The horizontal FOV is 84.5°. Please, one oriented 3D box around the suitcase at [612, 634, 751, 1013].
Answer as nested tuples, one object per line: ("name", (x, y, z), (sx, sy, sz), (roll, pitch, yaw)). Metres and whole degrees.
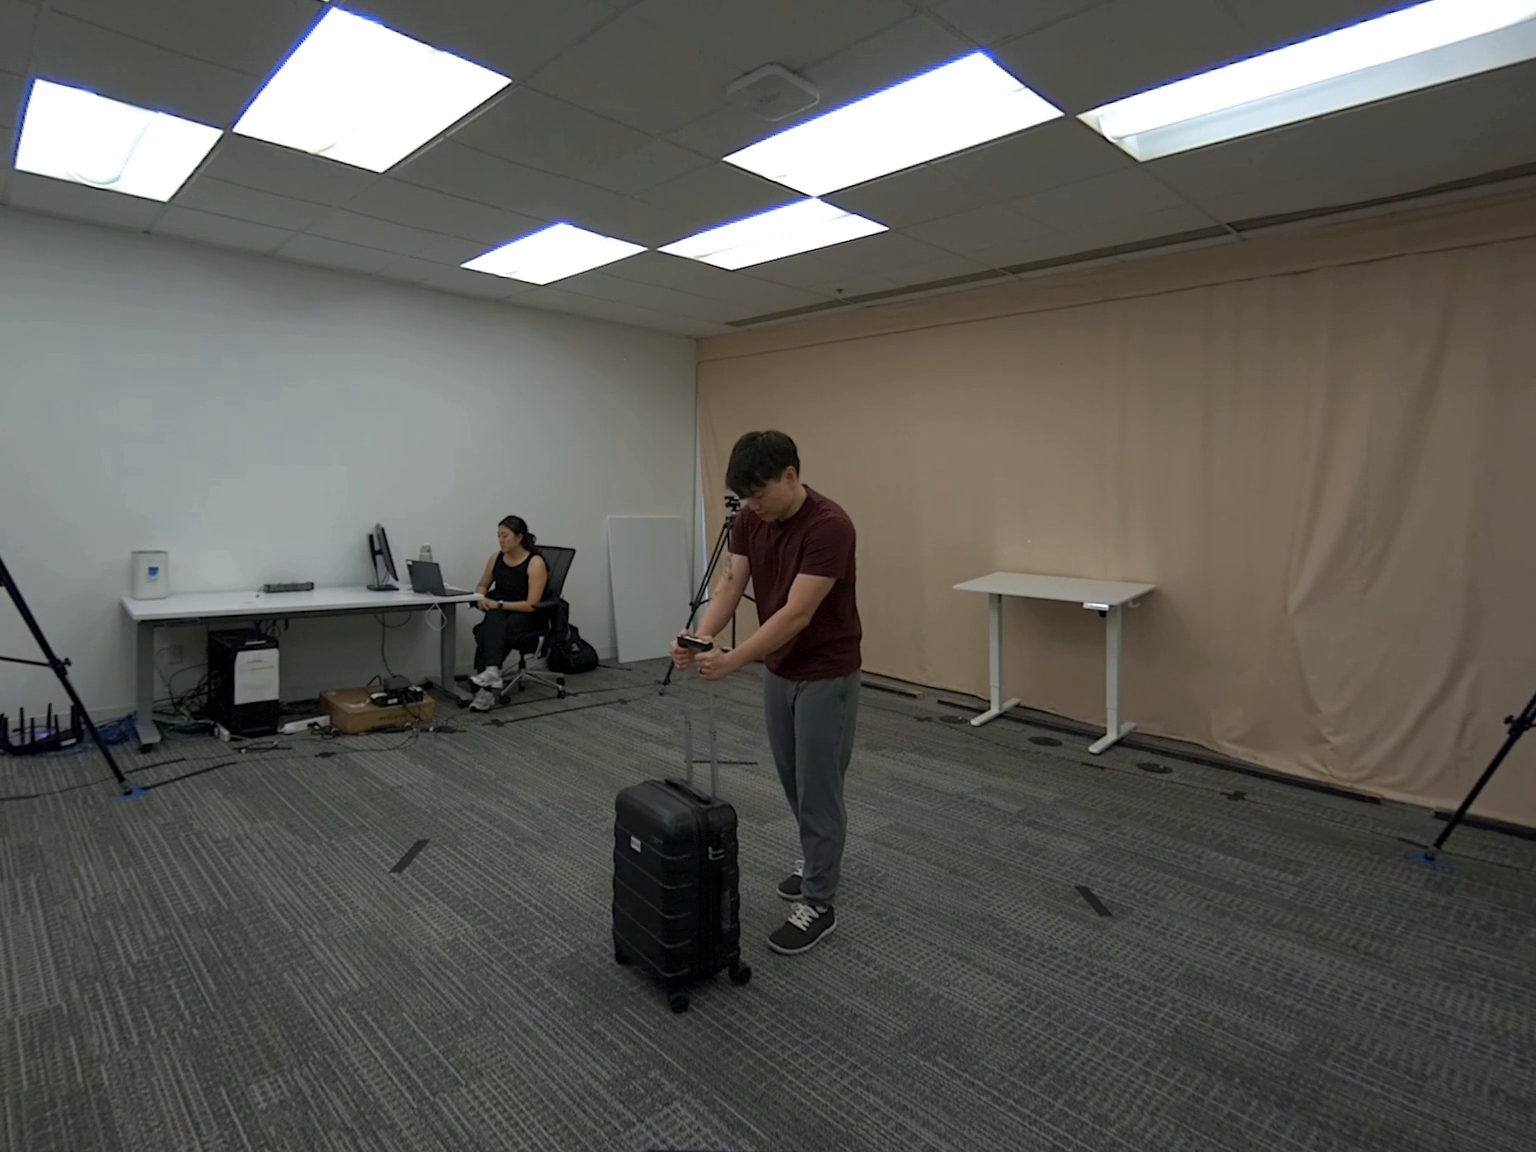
("suitcase", (-0.276, 0.693, 2.420), (0.252, 0.975, 0.393), (-5, 6, -38))
